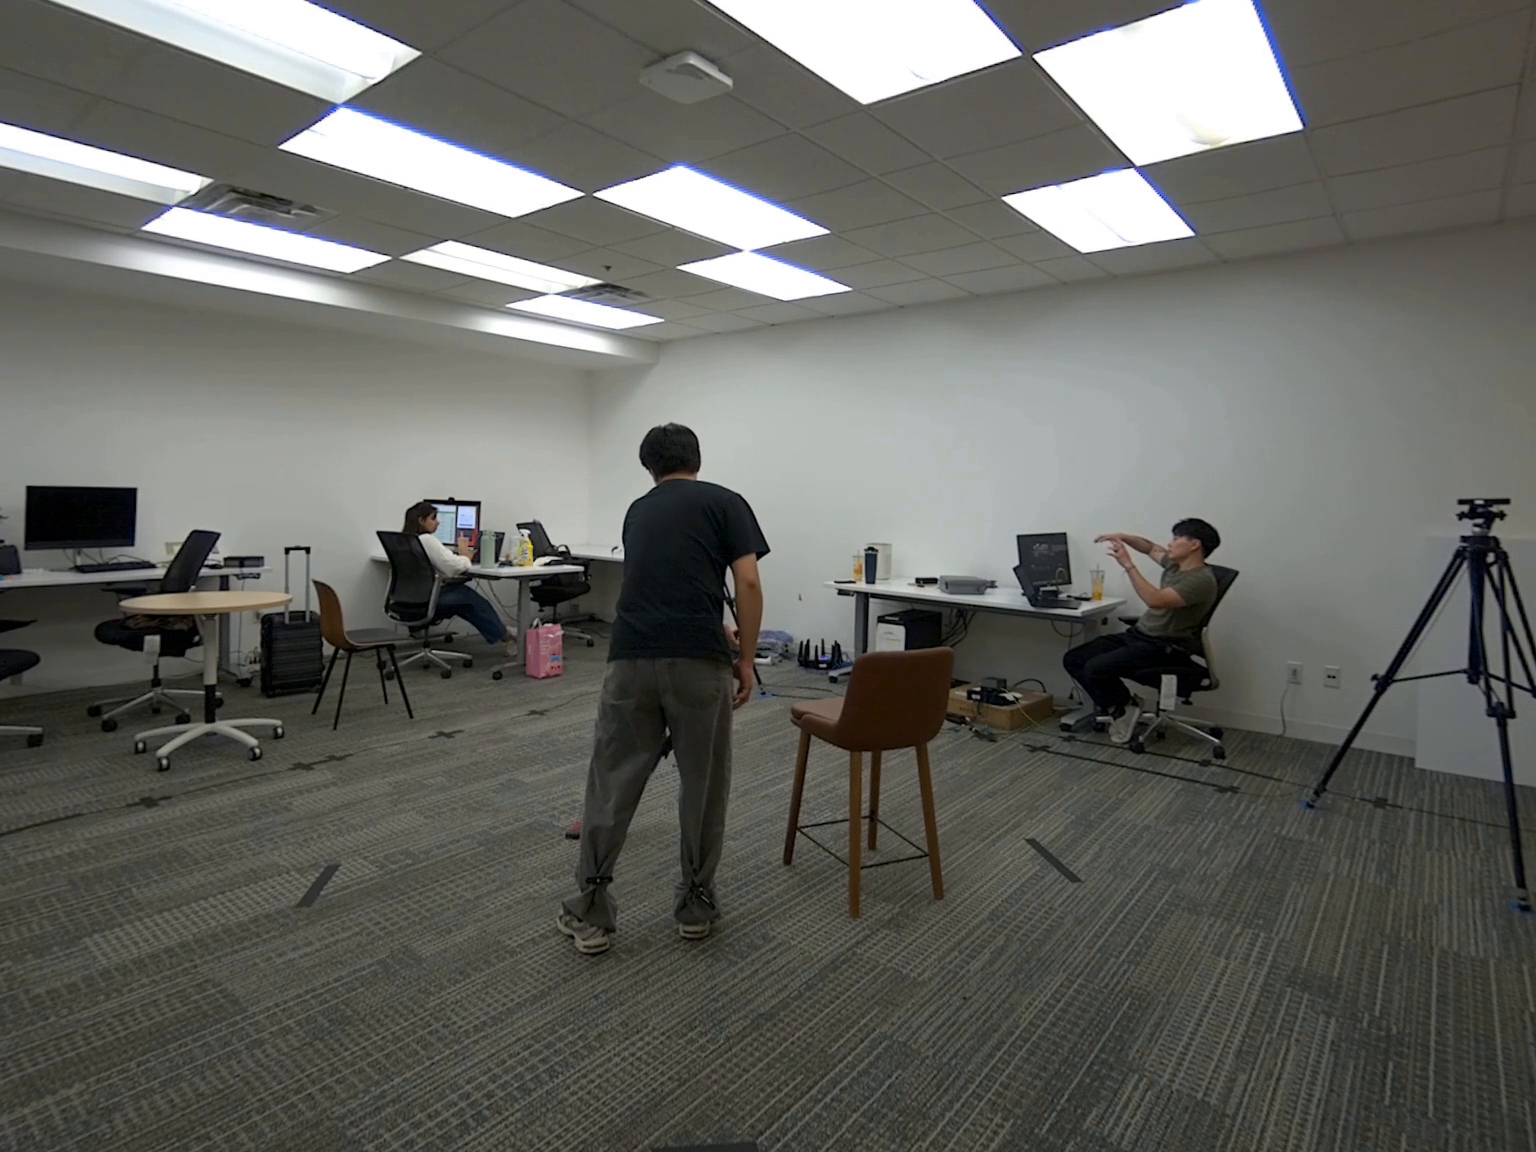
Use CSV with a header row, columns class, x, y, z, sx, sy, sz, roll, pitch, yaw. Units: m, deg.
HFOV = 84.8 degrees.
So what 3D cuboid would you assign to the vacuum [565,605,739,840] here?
class,x,y,z,sx,sy,sz,roll,pitch,yaw
vacuum,-0.417,0.602,3.325,0.148,1.046,0.247,41,16,17
